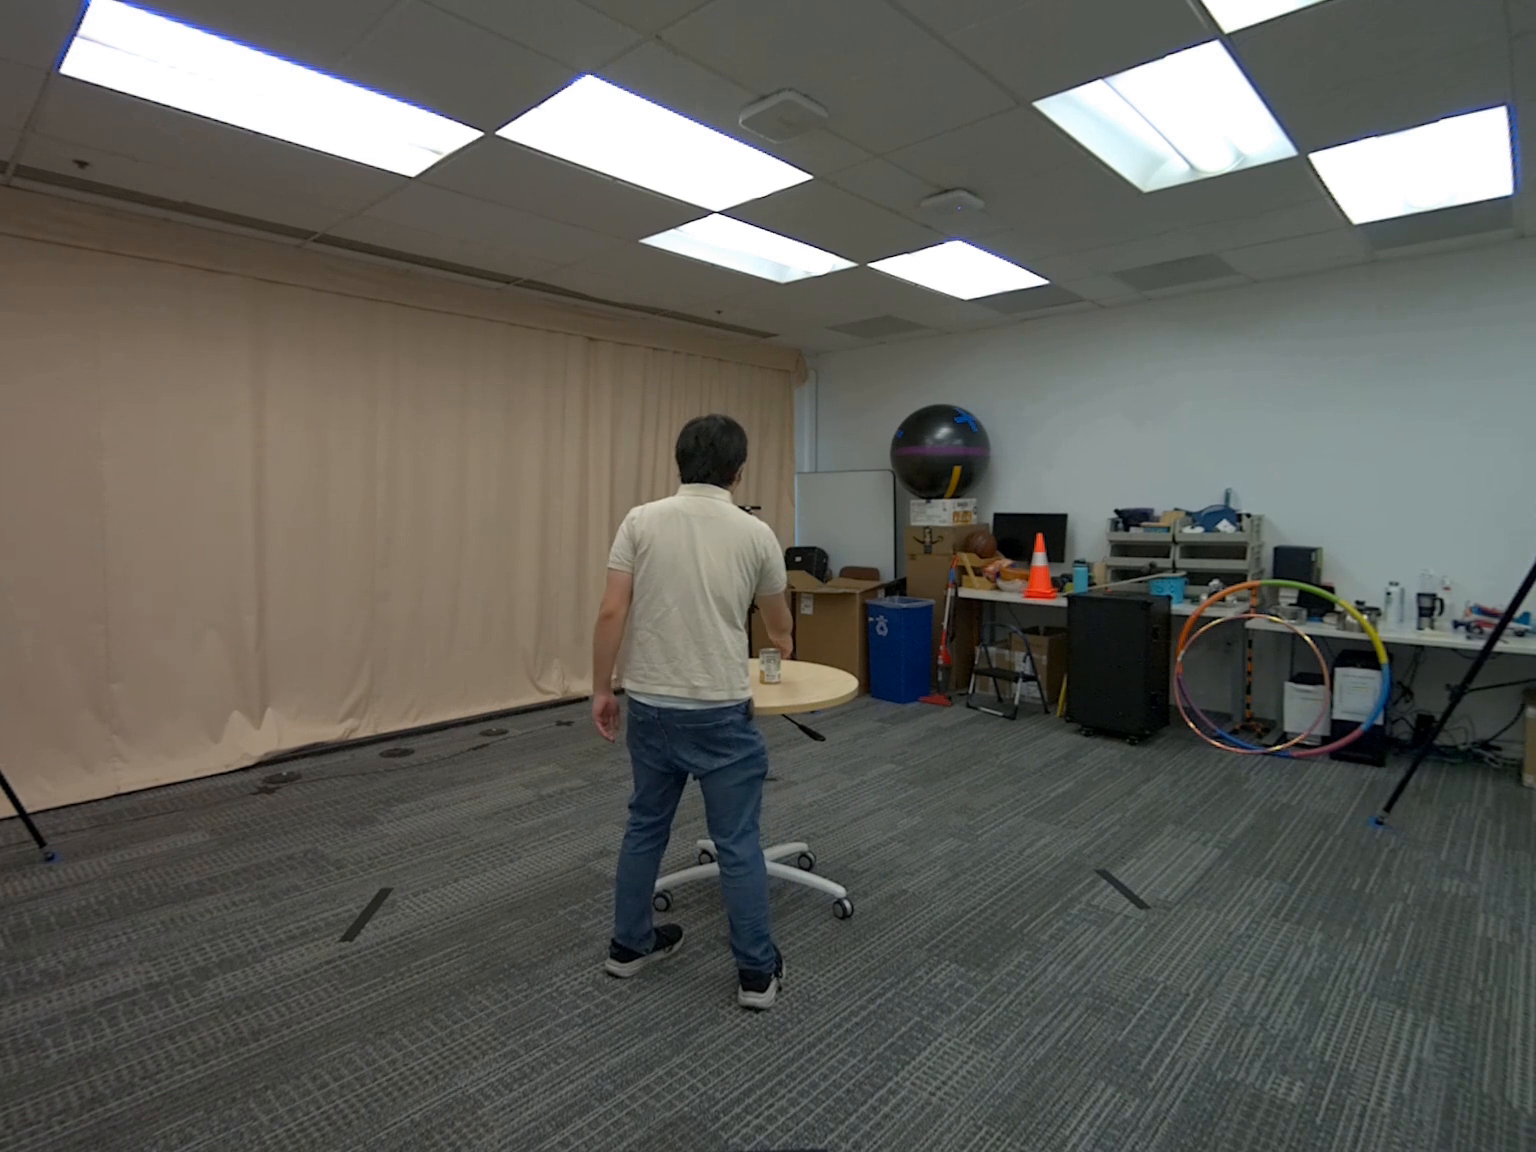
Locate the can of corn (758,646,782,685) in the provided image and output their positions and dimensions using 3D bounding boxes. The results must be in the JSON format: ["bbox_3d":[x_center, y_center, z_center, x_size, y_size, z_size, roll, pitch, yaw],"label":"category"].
[{"bbox_3d":[0.012,0.315,2.904,0.074,0.111,0.074,0,4,-2],"label":"can of corn"}]
